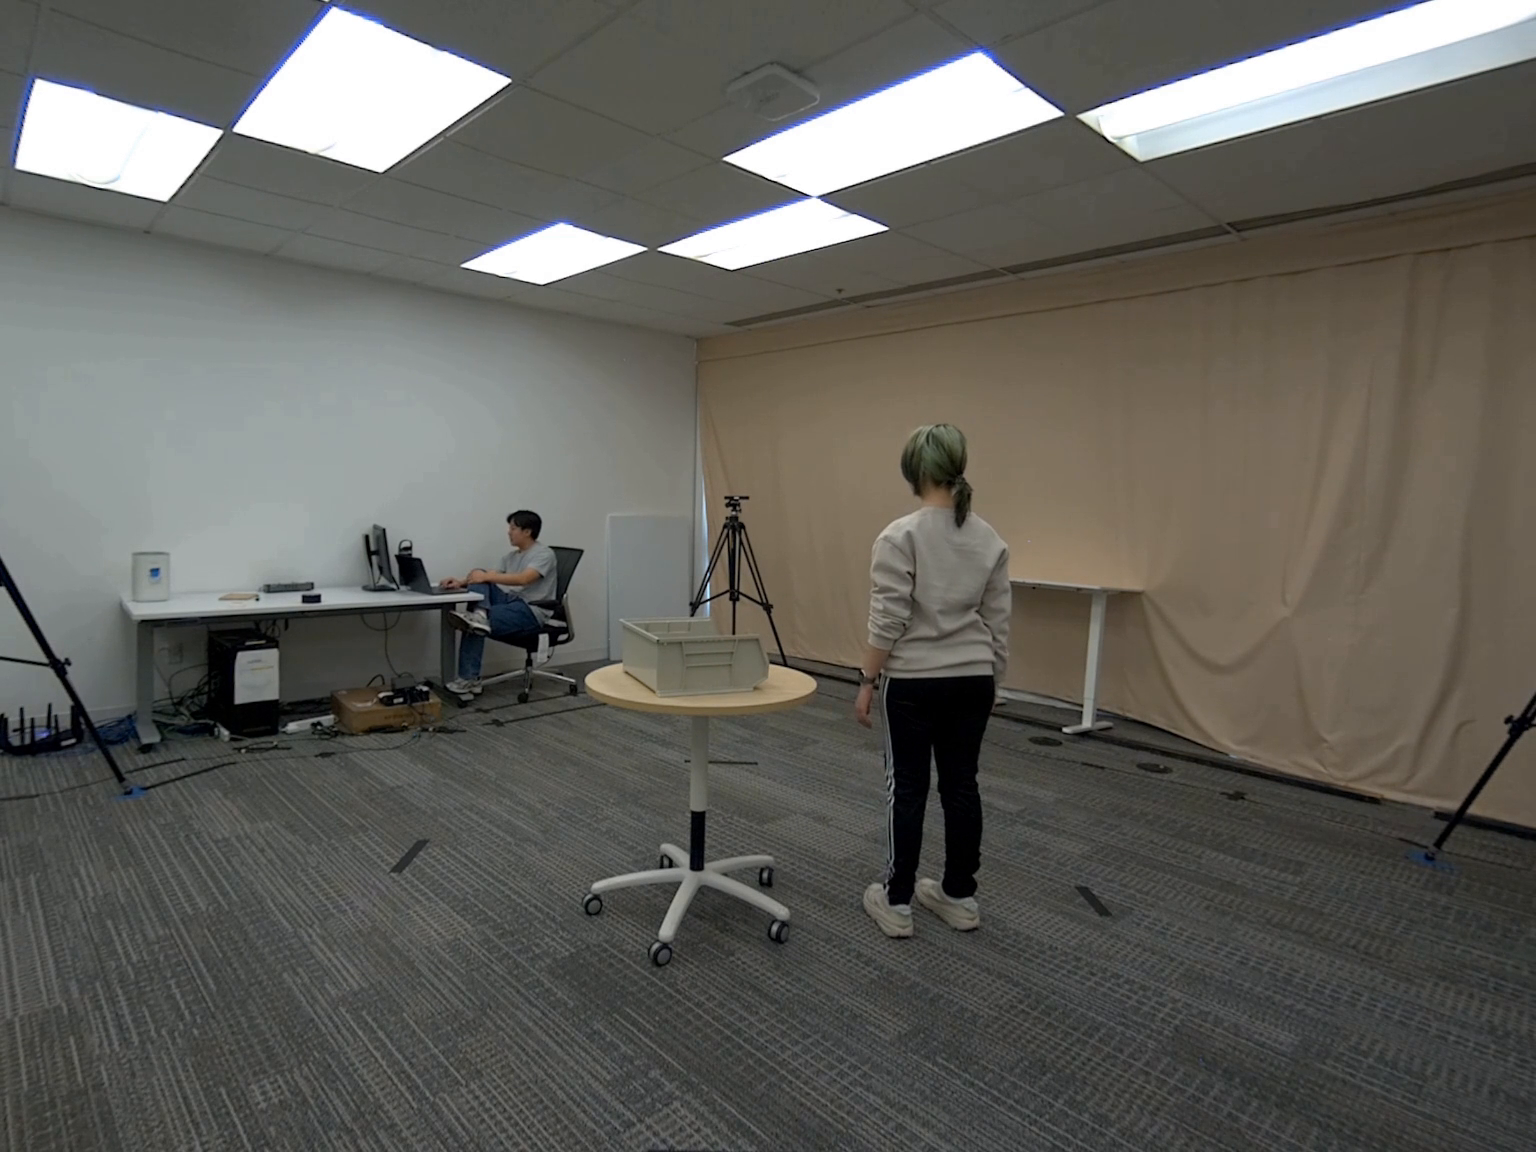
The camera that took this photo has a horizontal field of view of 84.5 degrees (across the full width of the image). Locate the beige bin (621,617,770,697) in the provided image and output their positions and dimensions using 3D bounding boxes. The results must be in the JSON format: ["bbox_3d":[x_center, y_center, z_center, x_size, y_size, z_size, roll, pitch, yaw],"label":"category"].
[{"bbox_3d":[-0.255,0.255,2.776,0.371,0.188,0.431,-3,6,-24],"label":"beige bin"}]
